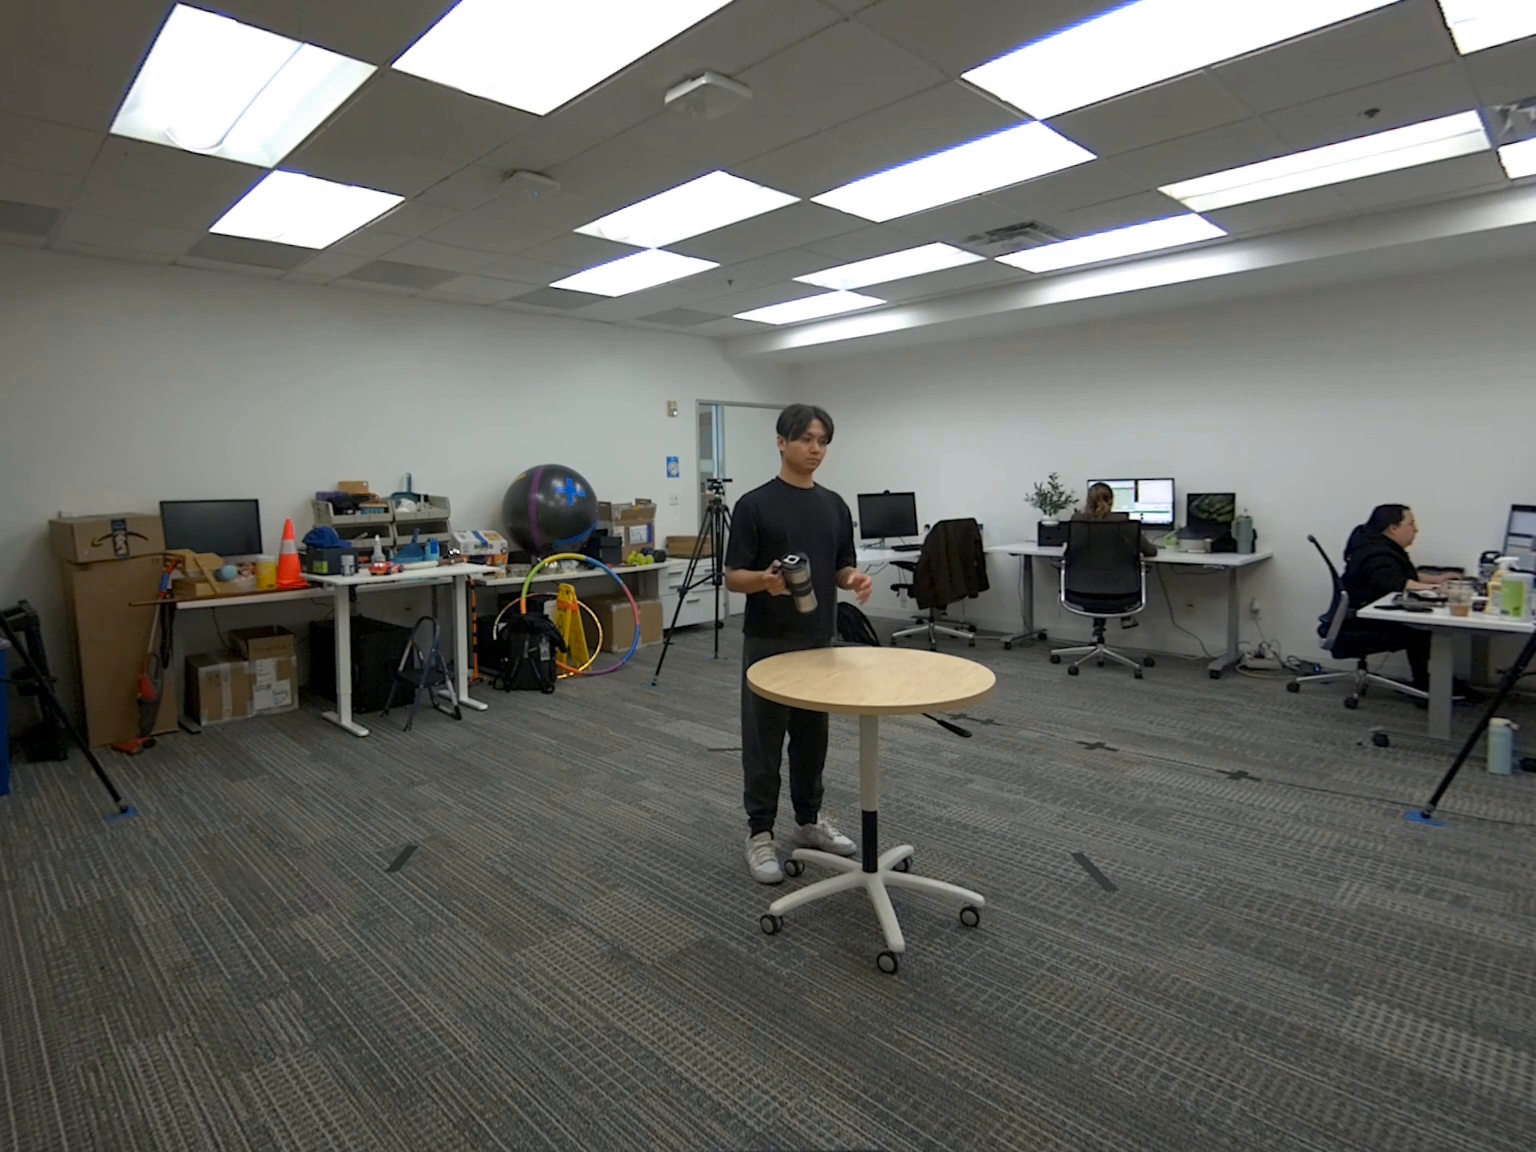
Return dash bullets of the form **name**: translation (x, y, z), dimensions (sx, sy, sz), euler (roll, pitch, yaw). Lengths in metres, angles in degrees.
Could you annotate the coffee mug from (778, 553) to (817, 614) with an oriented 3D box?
- **coffee mug**: translation (0.103, 0.020, 2.818), dimensions (0.090, 0.197, 0.122), euler (0, 35, 31)
